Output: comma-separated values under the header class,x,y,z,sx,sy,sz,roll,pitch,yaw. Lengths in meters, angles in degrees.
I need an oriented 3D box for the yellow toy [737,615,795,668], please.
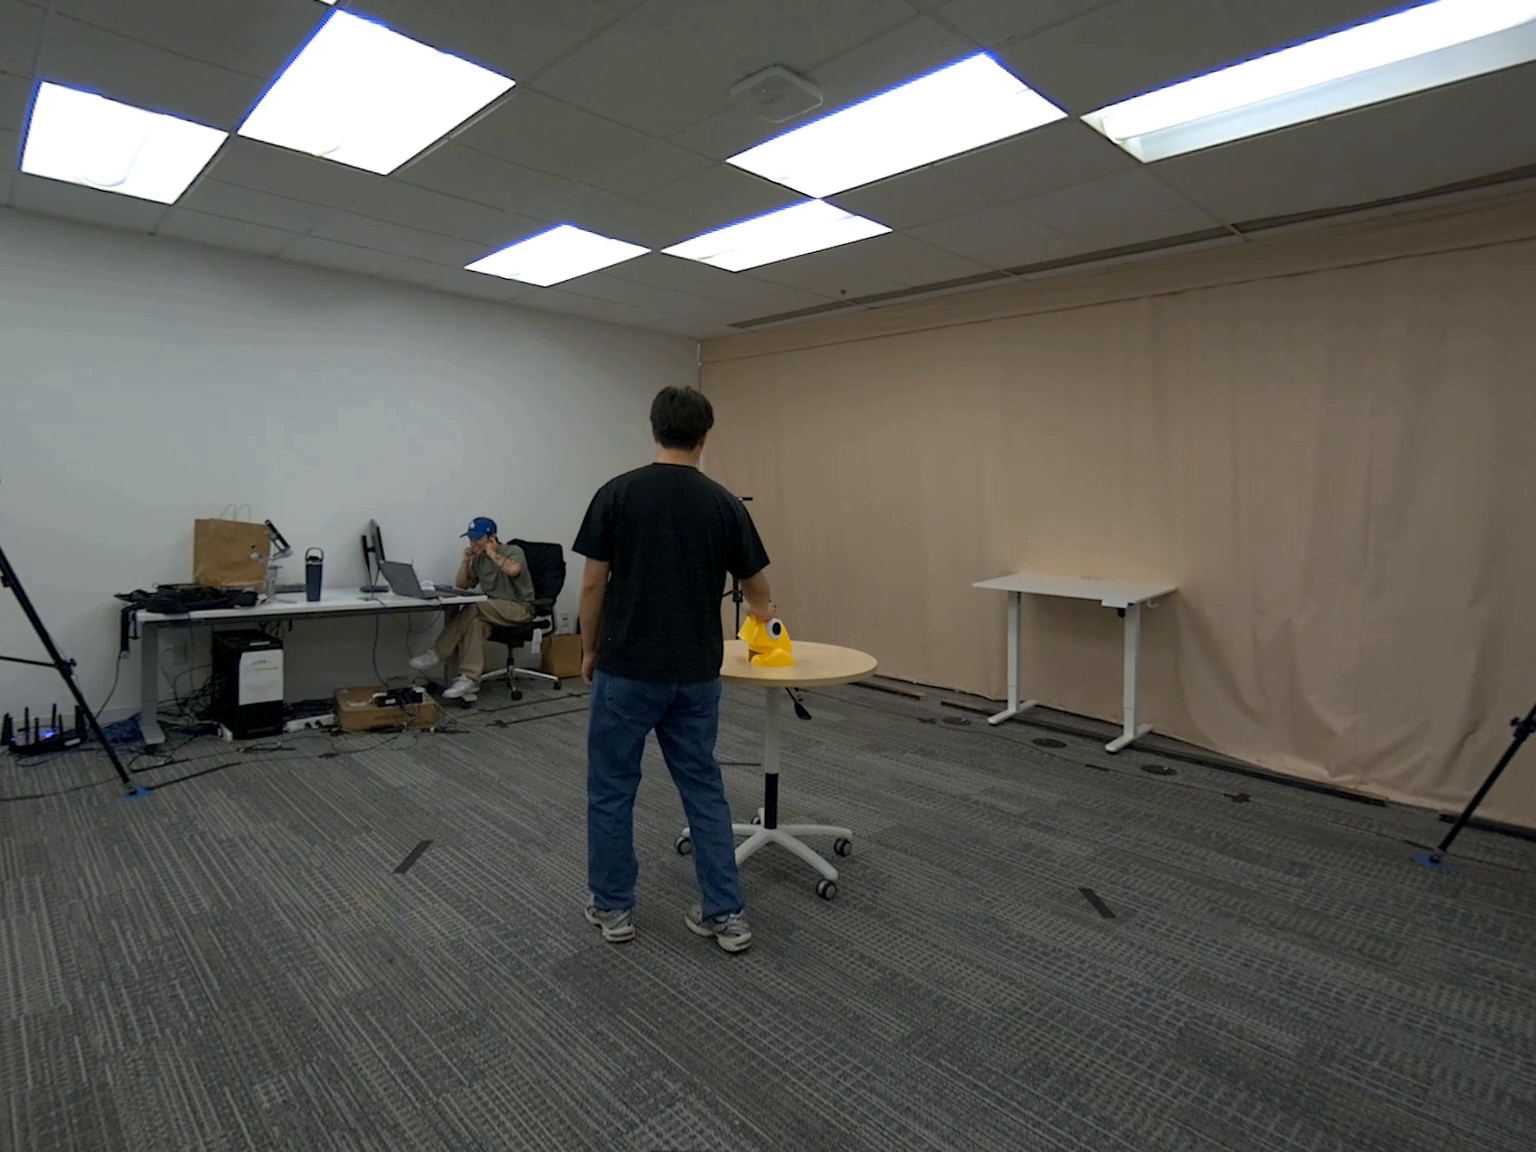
class,x,y,z,sx,sy,sz,roll,pitch,yaw
yellow toy,-0.003,0.201,3.112,0.191,0.230,0.207,-1,3,-16
